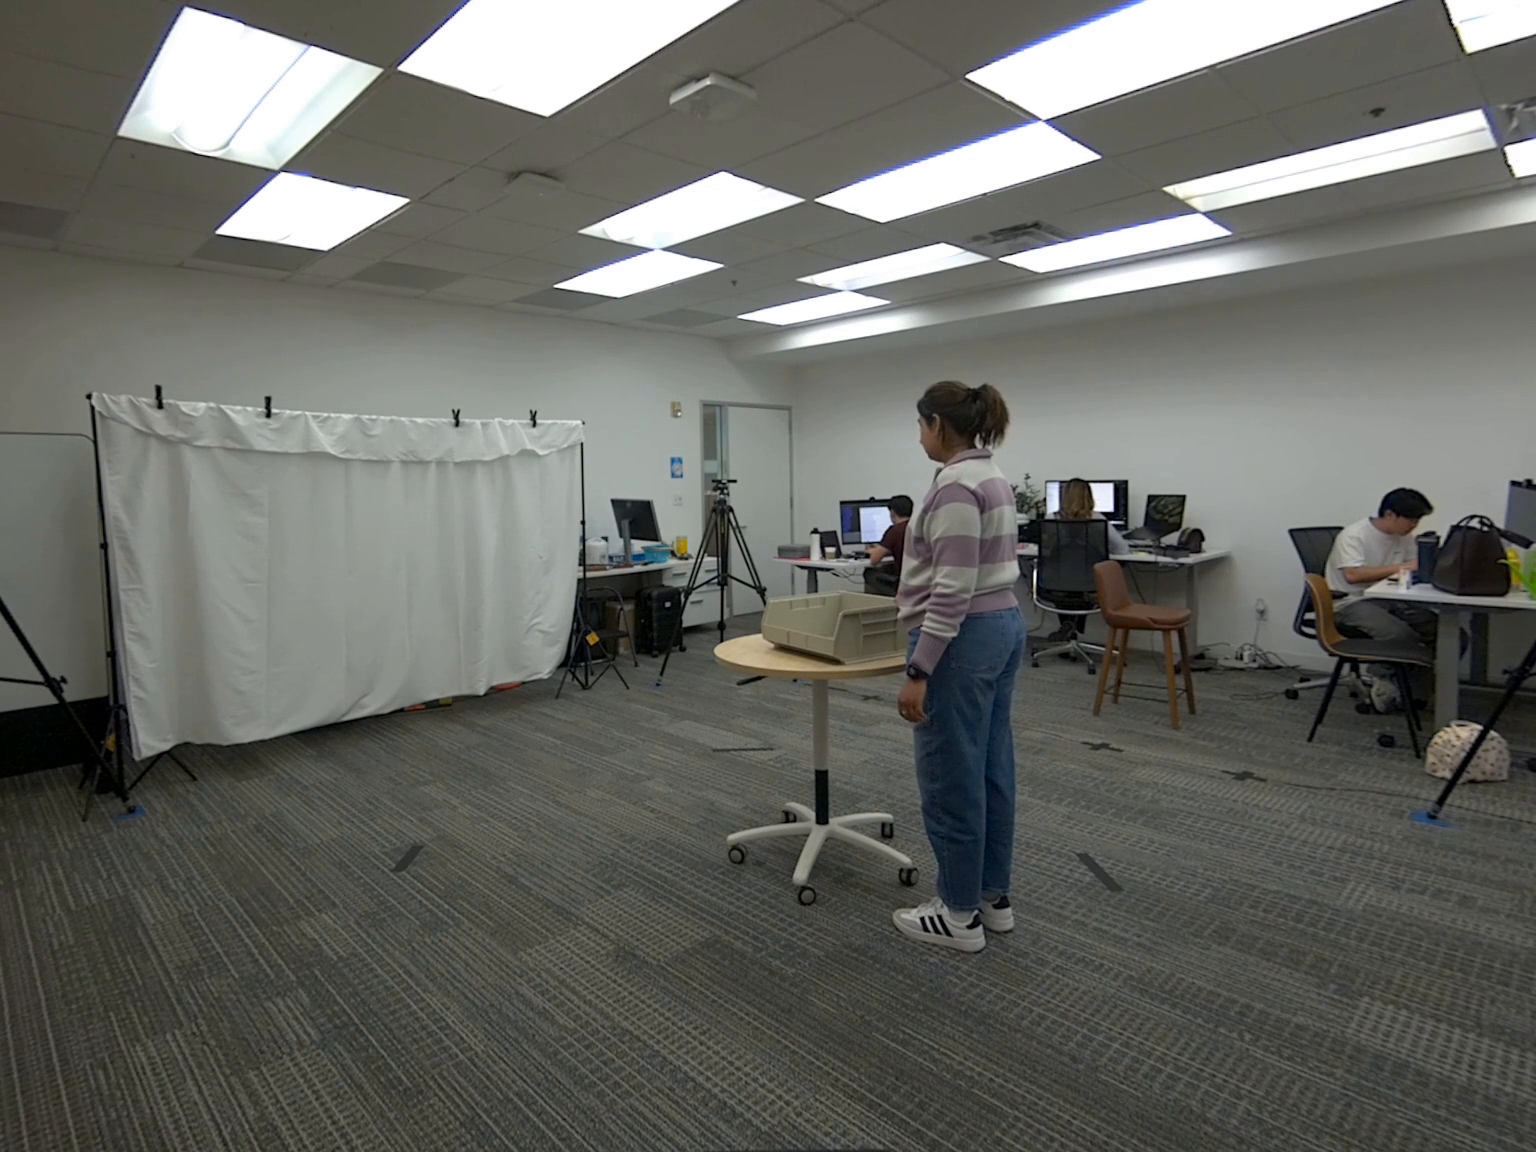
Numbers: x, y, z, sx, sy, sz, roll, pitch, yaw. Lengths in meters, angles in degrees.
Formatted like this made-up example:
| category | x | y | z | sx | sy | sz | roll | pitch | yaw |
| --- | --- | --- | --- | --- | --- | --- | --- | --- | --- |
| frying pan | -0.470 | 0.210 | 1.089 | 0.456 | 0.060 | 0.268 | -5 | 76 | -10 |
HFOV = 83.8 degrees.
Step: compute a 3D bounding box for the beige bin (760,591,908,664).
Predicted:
| category | x | y | z | sx | sy | sz | roll | pitch | yaw |
| --- | --- | --- | --- | --- | --- | --- | --- | --- | --- |
| beige bin | 0.245 | 0.177 | 3.027 | 0.368 | 0.188 | 0.434 | -4 | 6 | -33 |
